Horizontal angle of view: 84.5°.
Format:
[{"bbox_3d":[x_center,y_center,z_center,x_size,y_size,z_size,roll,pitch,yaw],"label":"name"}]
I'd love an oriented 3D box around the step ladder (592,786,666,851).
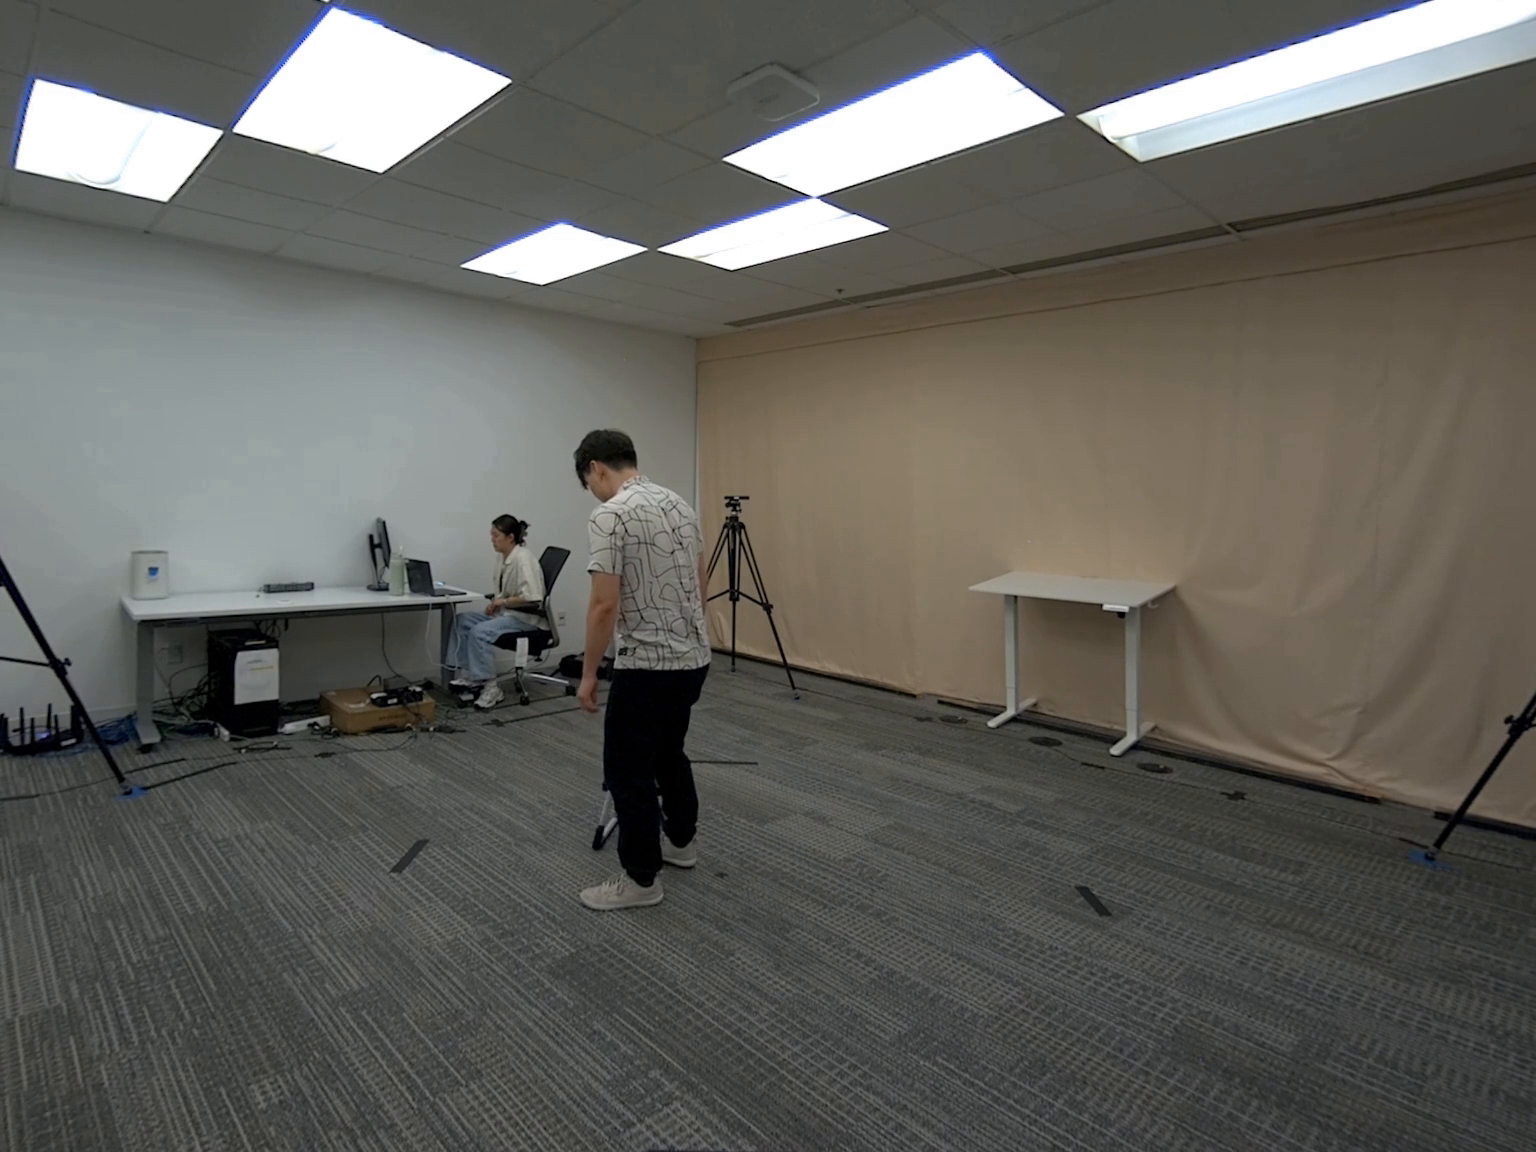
[{"bbox_3d":[-0.499,0.767,3.462,0.351,0.604,0.429,3,4,5],"label":"step ladder"}]
